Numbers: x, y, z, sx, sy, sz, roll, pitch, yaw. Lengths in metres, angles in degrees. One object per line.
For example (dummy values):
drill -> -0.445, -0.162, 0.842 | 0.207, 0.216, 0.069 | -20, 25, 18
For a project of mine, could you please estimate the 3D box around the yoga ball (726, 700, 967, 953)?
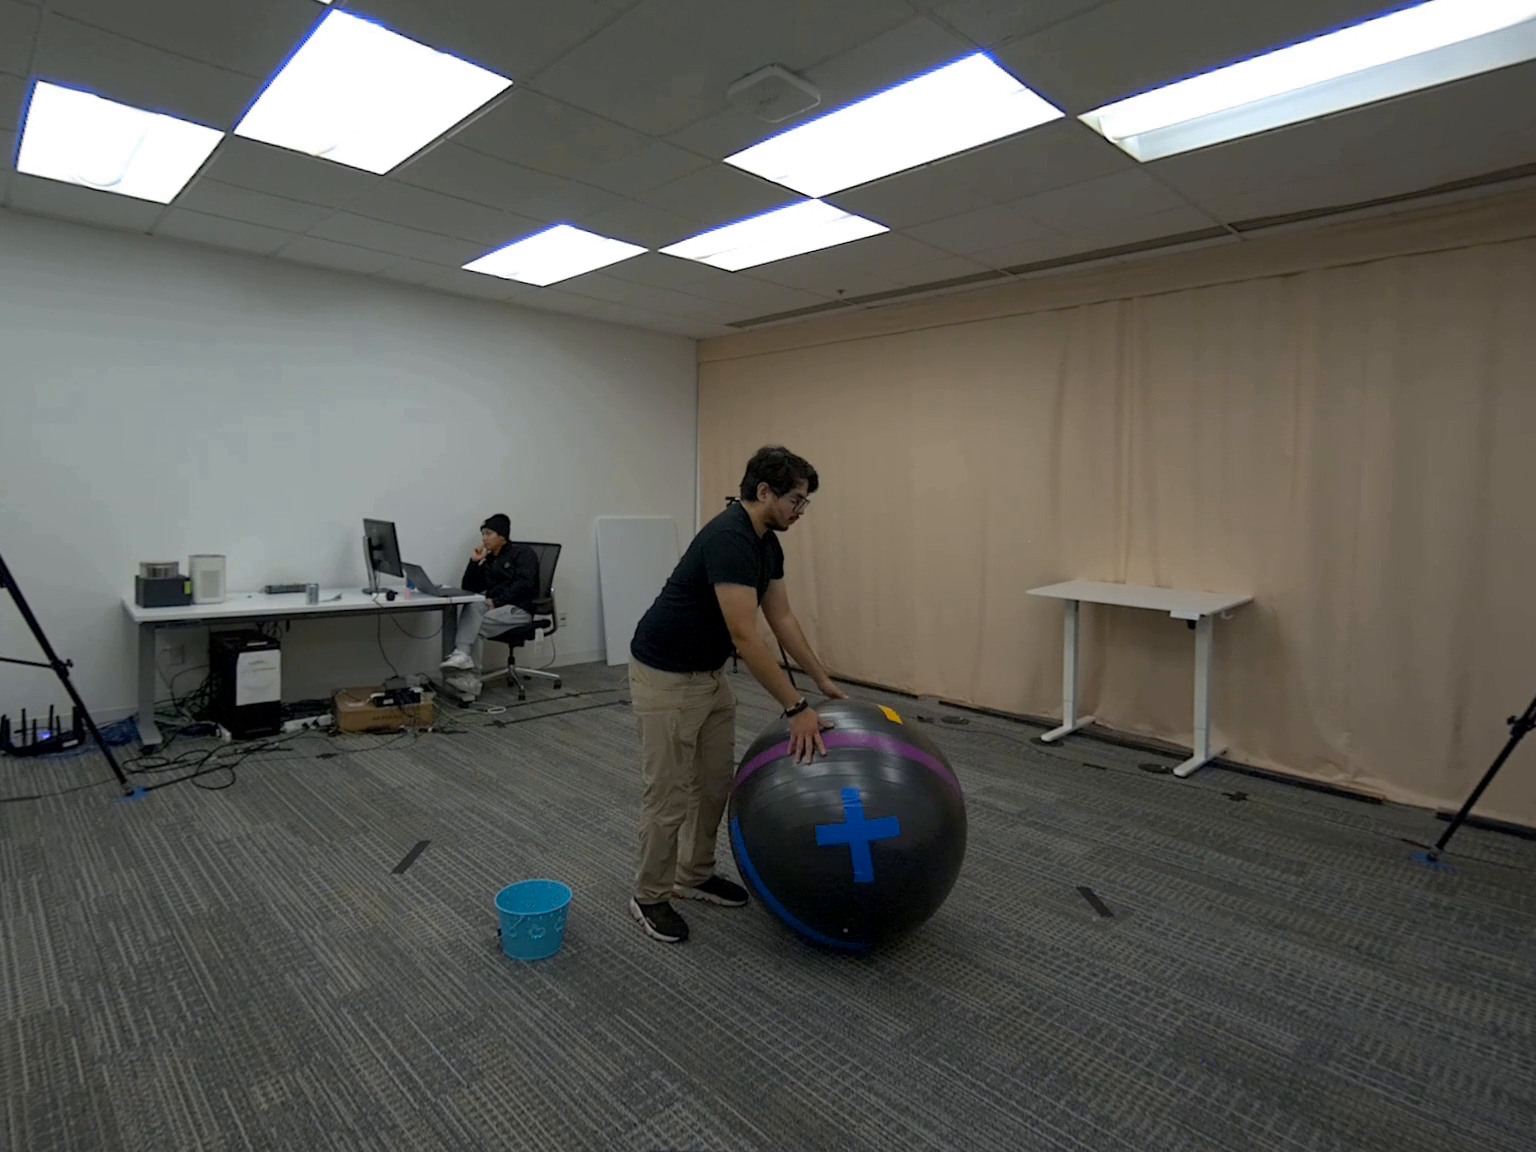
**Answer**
yoga ball -> 0.251, 0.786, 2.705 | 0.757, 0.756, 0.761 | 1, 4, -1
